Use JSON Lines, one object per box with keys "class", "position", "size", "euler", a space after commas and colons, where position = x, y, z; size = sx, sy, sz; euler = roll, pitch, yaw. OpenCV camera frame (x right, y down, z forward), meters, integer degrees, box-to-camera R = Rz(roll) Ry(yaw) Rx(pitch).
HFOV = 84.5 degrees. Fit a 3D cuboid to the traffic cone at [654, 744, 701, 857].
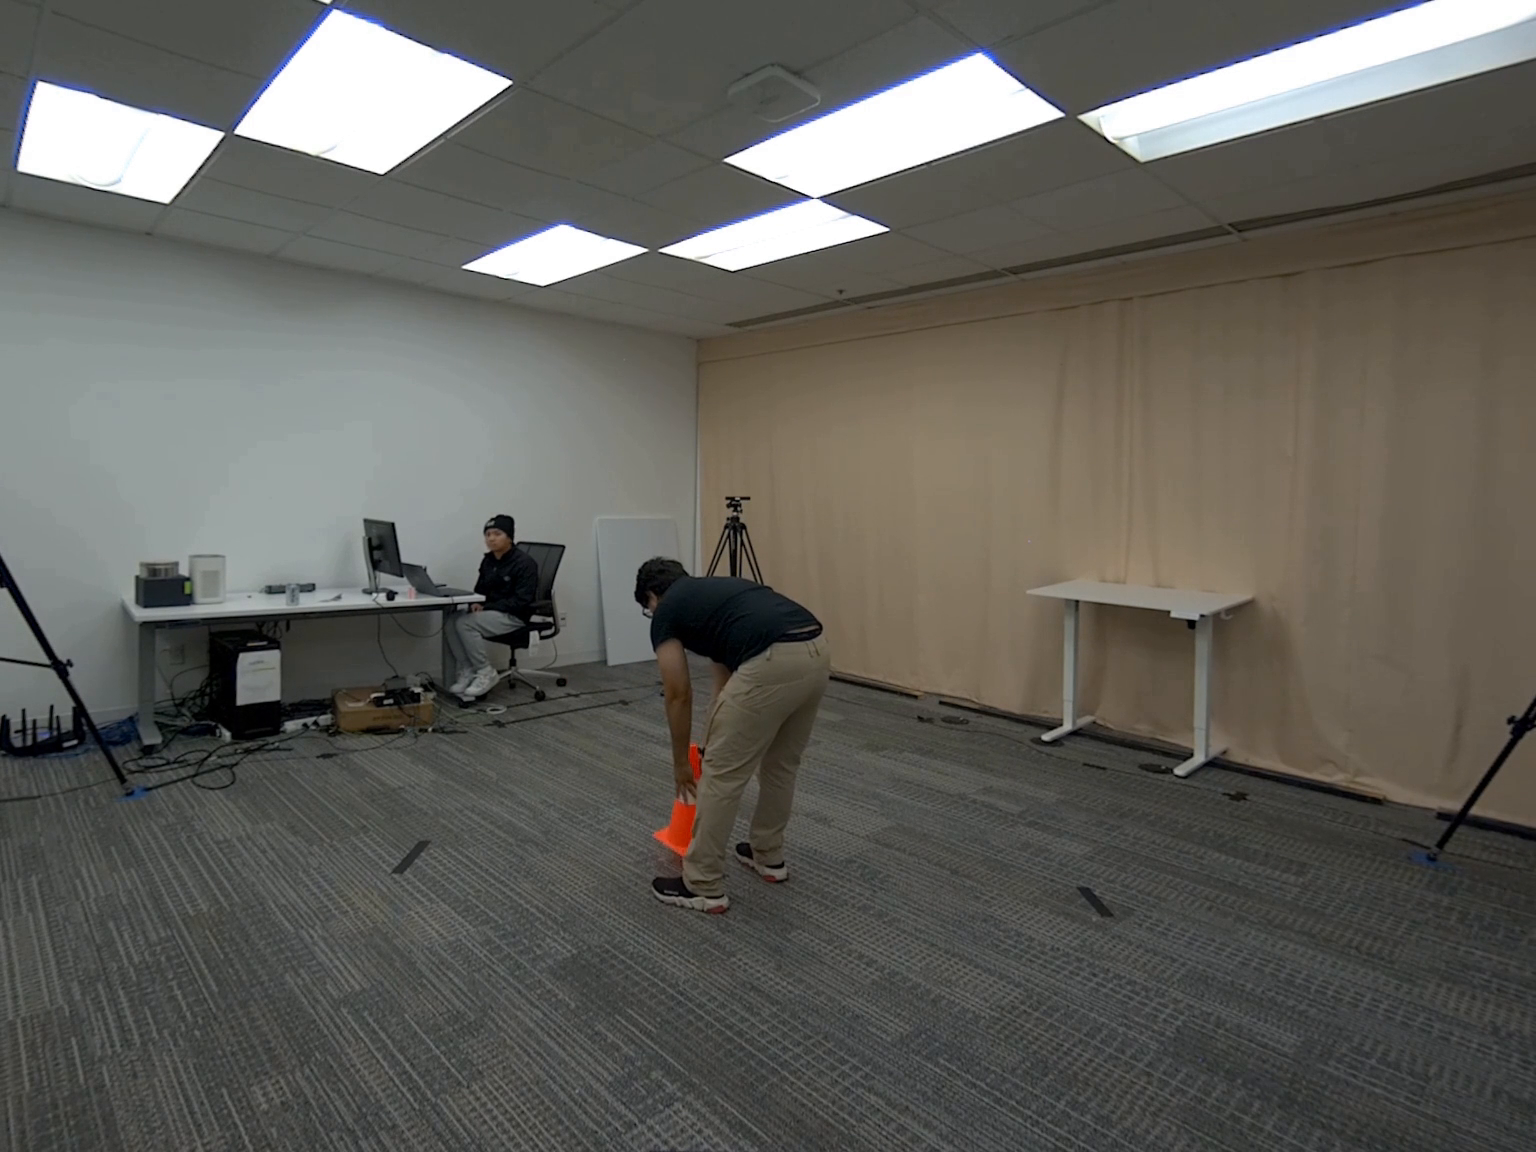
{"class": "traffic cone", "position": [-0.306, 0.830, 3.183], "size": [0.209, 0.380, 0.201], "euler": [14, 17, 41]}
